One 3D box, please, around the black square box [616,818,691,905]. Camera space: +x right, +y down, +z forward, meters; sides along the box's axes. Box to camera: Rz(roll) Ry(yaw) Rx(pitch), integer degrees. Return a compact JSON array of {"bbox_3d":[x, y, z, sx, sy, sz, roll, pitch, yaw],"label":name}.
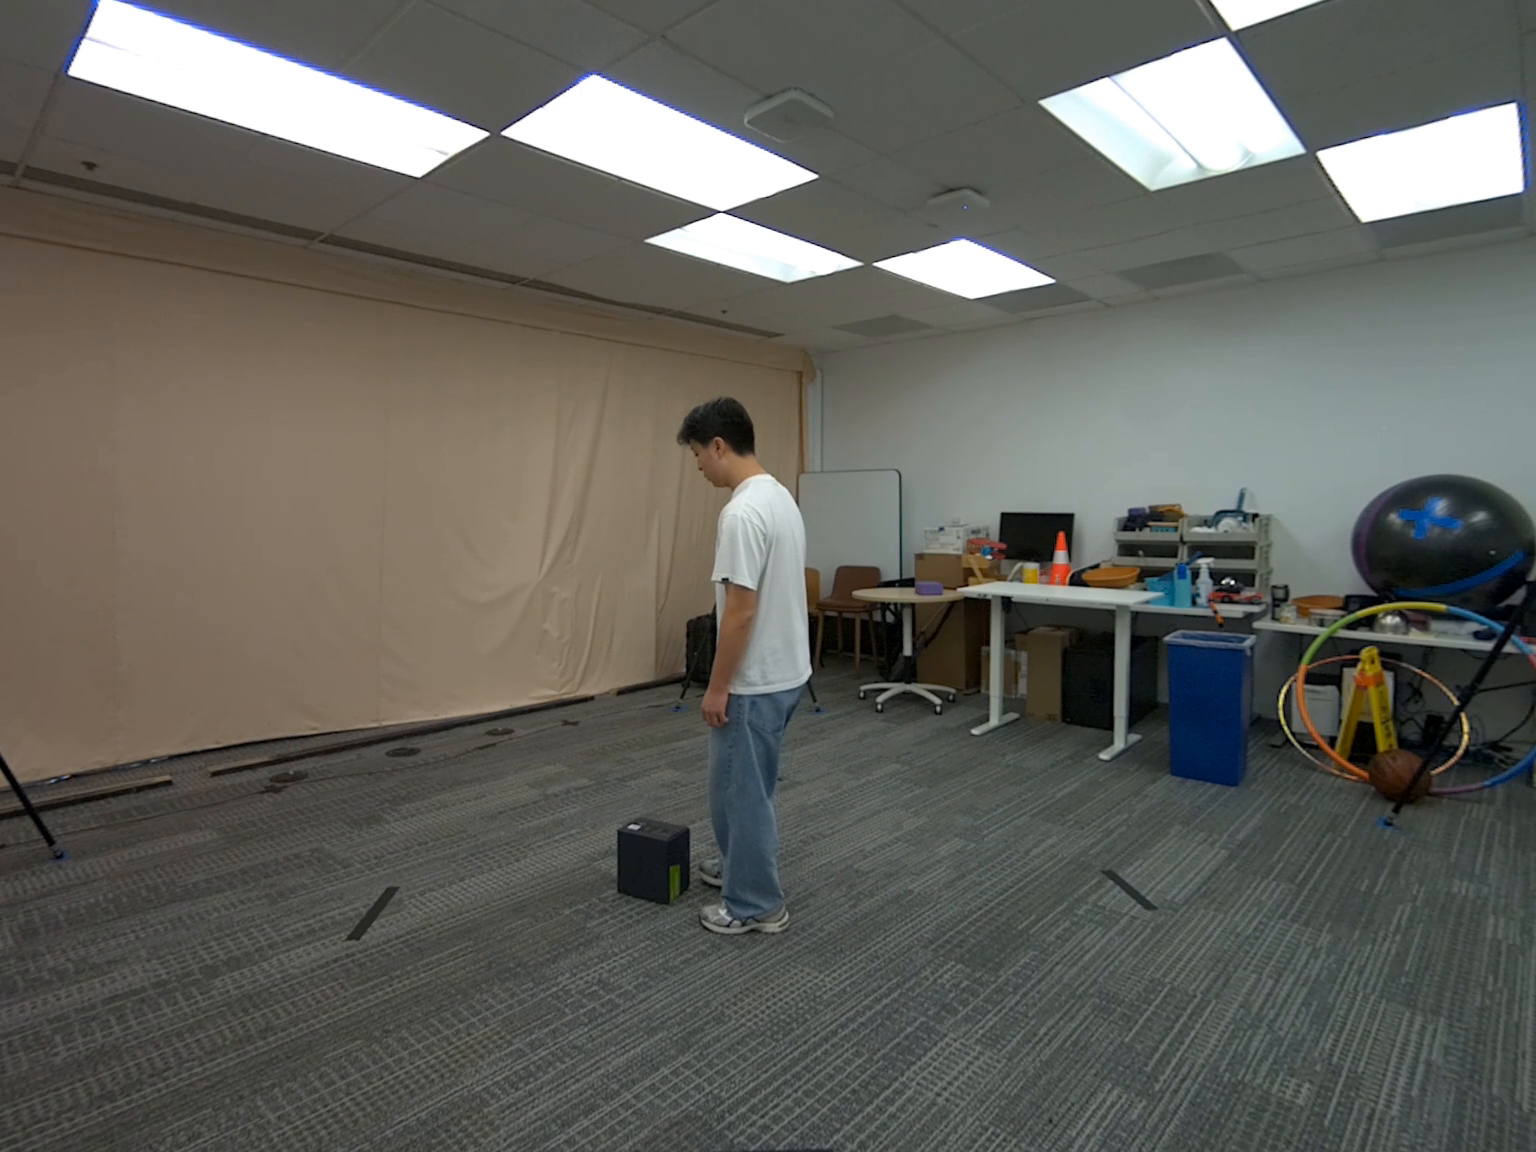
[{"bbox_3d":[-0.413,1.023,3.045,0.223,0.227,0.152,2,3,27],"label":"black square box"}]
